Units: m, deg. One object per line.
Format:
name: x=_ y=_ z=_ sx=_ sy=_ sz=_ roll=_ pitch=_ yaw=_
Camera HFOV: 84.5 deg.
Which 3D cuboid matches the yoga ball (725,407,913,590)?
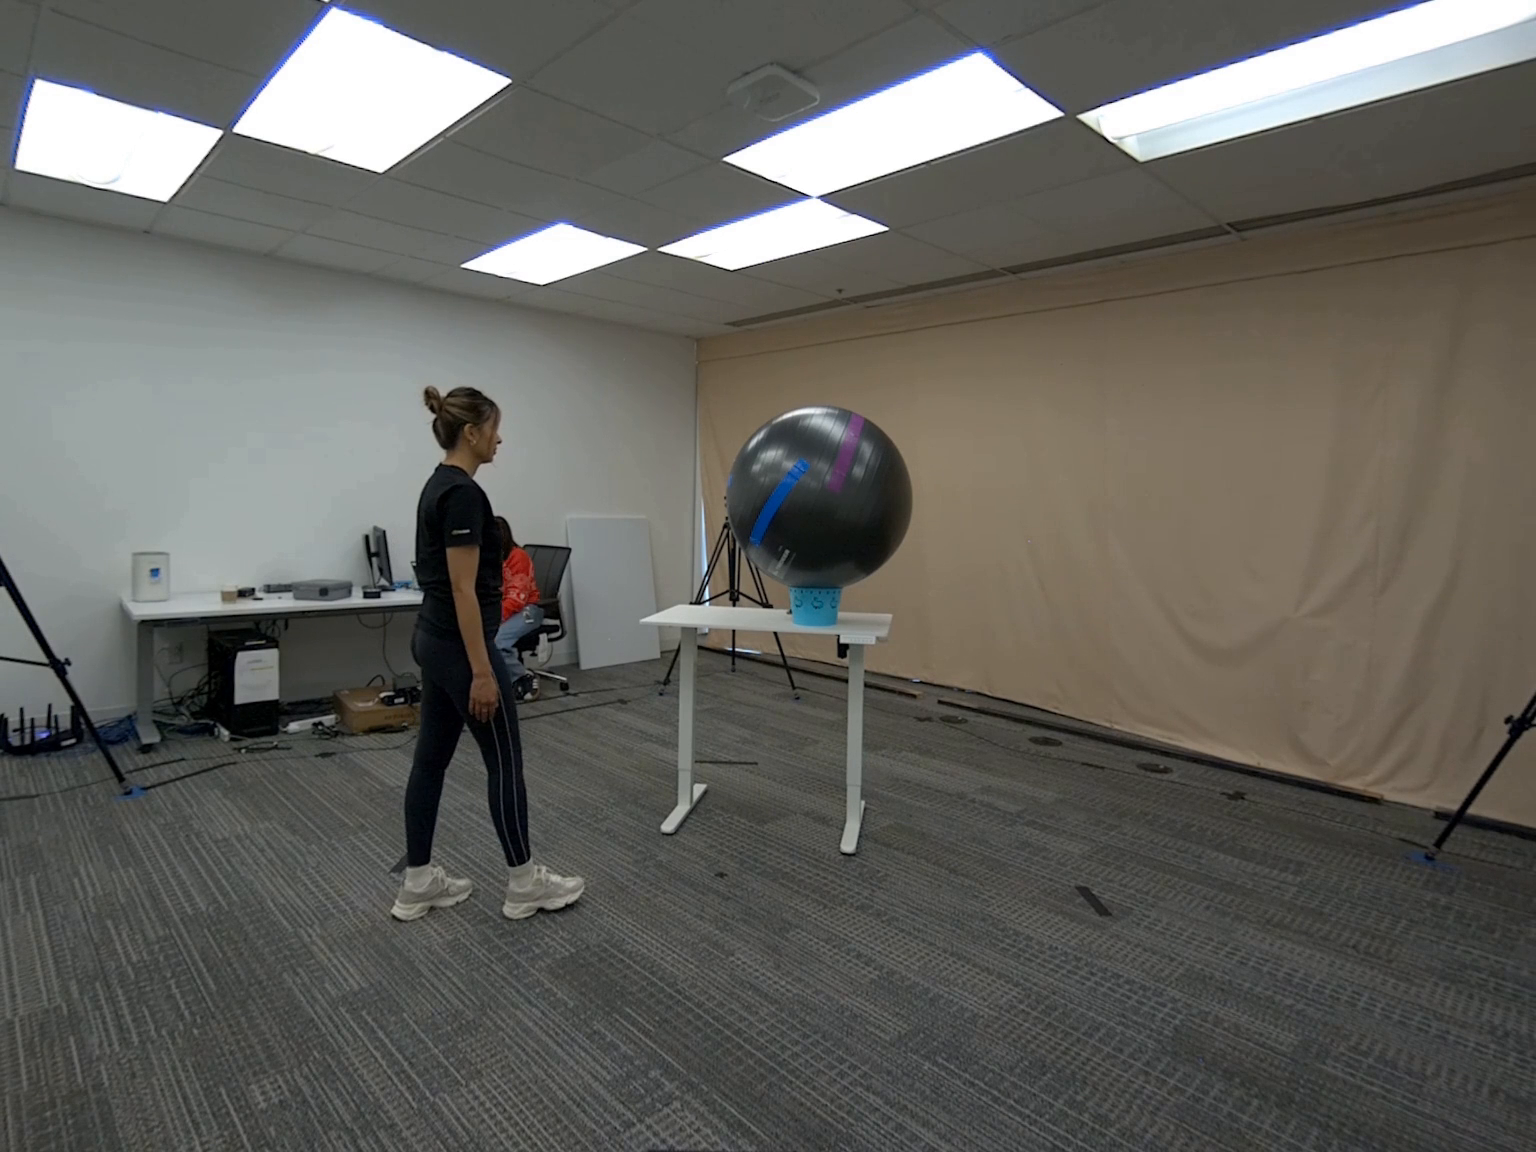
yoga ball: x=0.203 y=-0.313 z=3.460 sx=0.757 sy=0.756 sz=0.761 roll=1 pitch=4 yaw=-1
